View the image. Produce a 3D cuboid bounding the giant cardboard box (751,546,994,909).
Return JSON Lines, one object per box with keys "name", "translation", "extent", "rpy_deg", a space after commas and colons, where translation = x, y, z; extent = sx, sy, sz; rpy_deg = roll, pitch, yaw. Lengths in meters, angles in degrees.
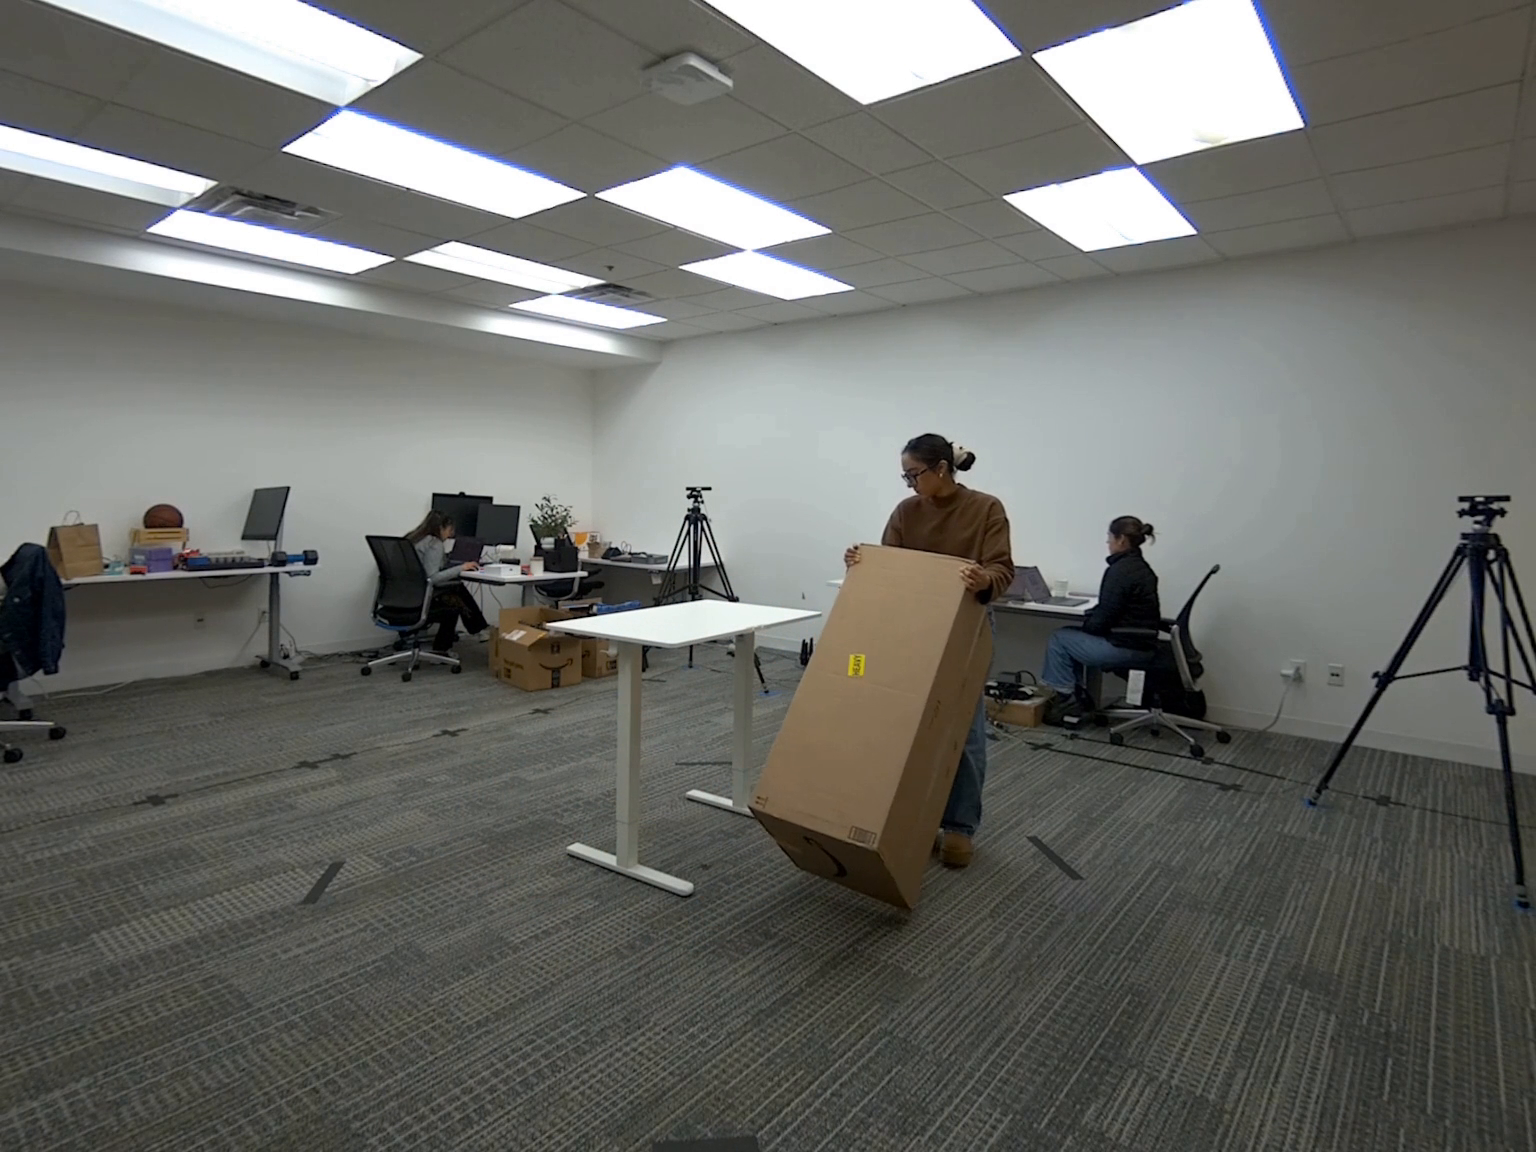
{"name": "giant cardboard box", "translation": [0.395, 0.494, 2.915], "extent": [0.440, 1.035, 0.554], "rpy_deg": [10, -32, 29]}
